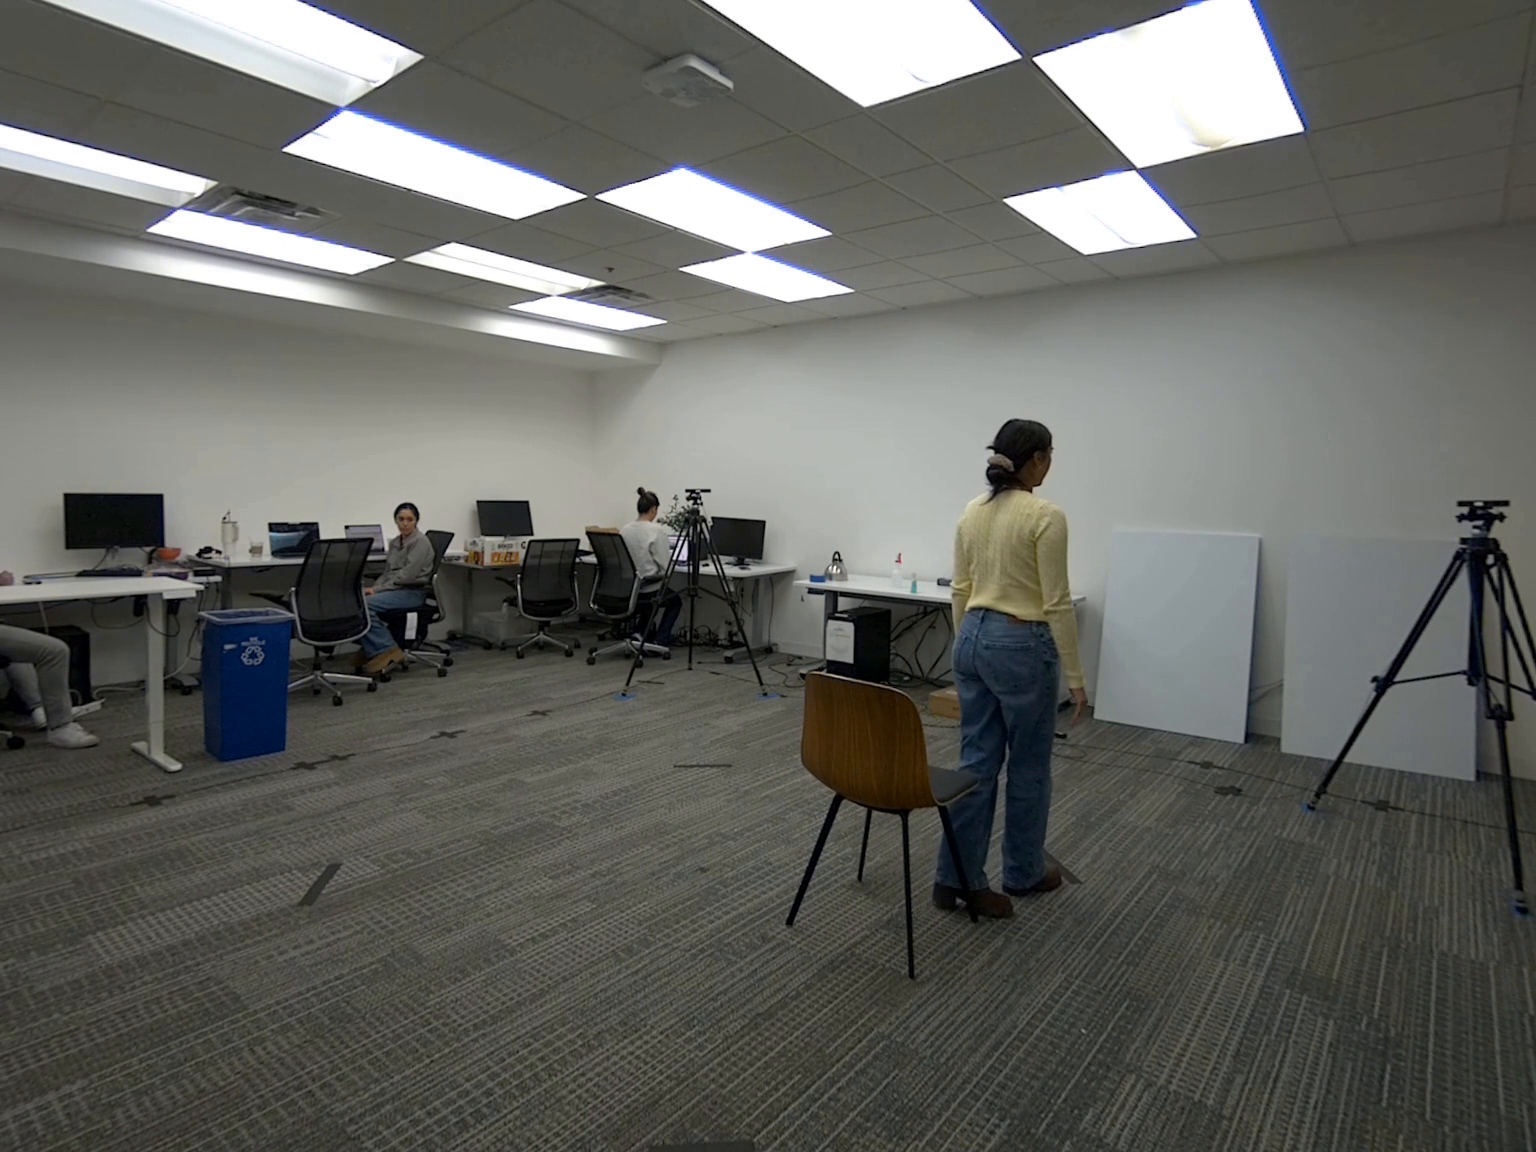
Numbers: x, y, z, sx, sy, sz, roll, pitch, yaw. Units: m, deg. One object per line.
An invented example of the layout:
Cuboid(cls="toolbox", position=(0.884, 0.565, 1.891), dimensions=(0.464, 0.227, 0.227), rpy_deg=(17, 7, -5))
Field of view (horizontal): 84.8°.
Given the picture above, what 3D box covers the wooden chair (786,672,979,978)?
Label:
Cuboid(cls="wooden chair", position=(0.382, 0.695, 2.734), dimensions=(0.494, 0.872, 0.509), rpy_deg=(3, 7, 38))
